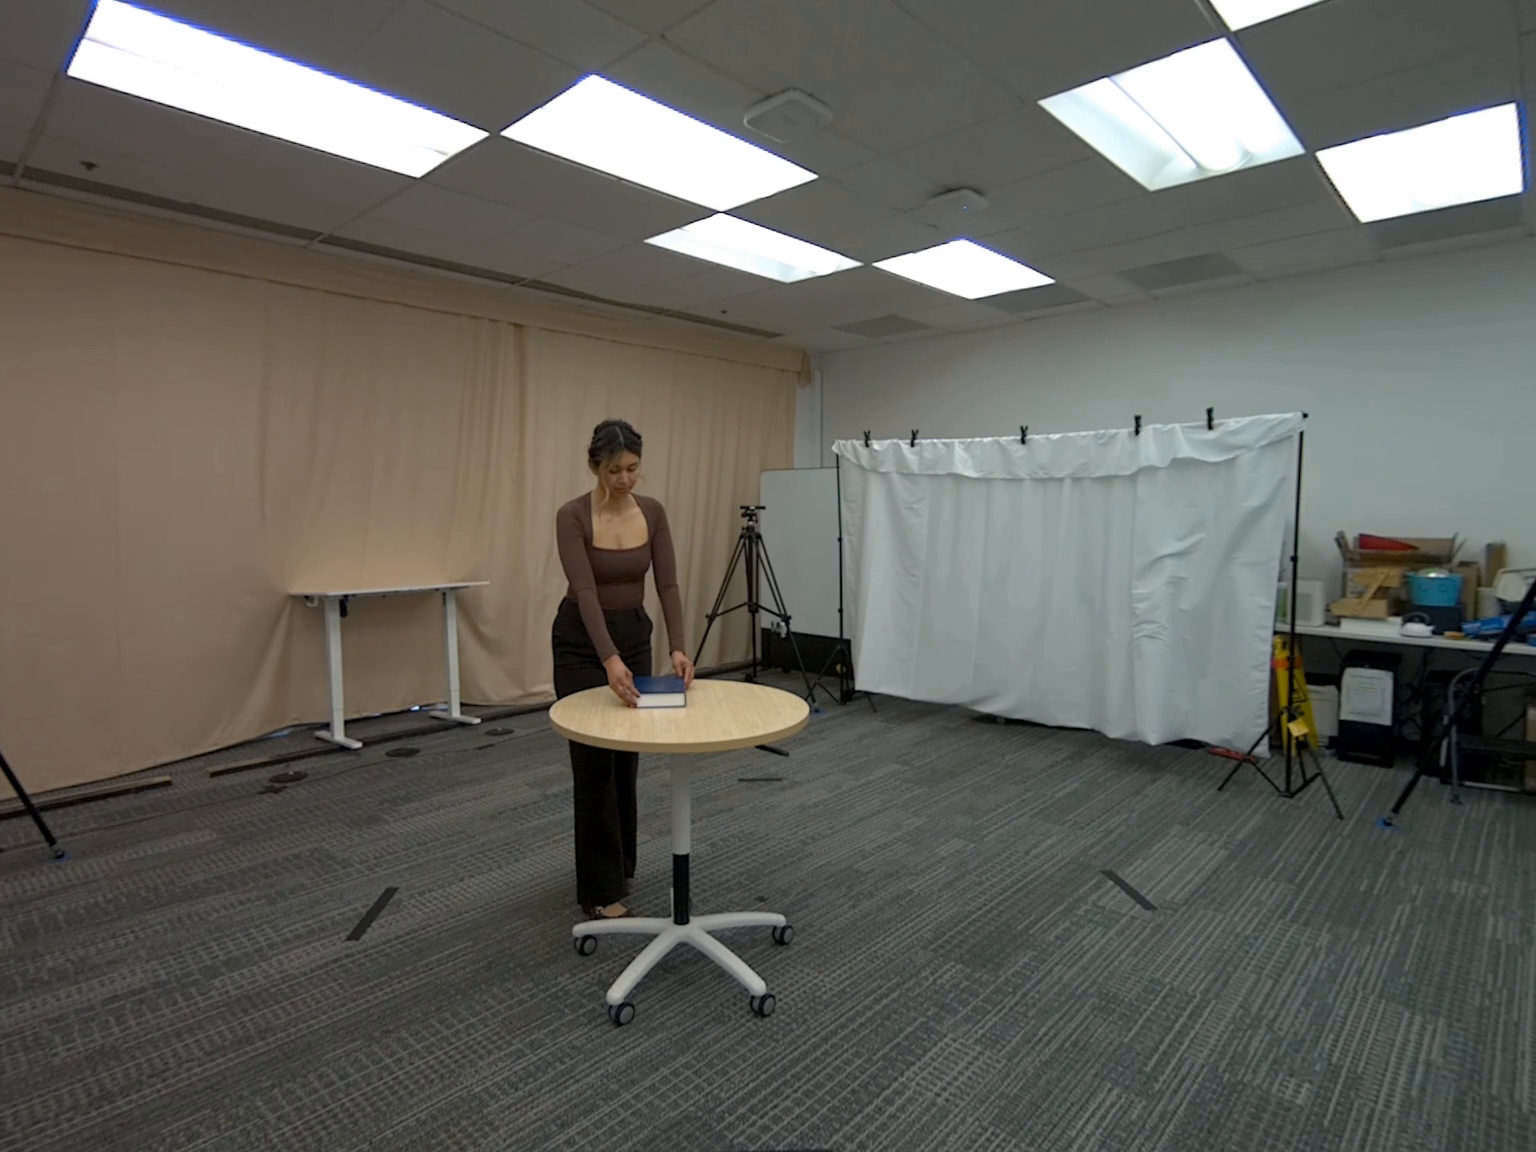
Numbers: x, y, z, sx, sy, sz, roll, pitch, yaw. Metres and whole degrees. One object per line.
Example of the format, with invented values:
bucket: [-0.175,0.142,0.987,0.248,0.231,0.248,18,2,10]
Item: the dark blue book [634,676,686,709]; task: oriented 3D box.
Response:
dark blue book: [-0.337,0.365,2.617,0.163,0.045,0.246,-1,4,-4]
